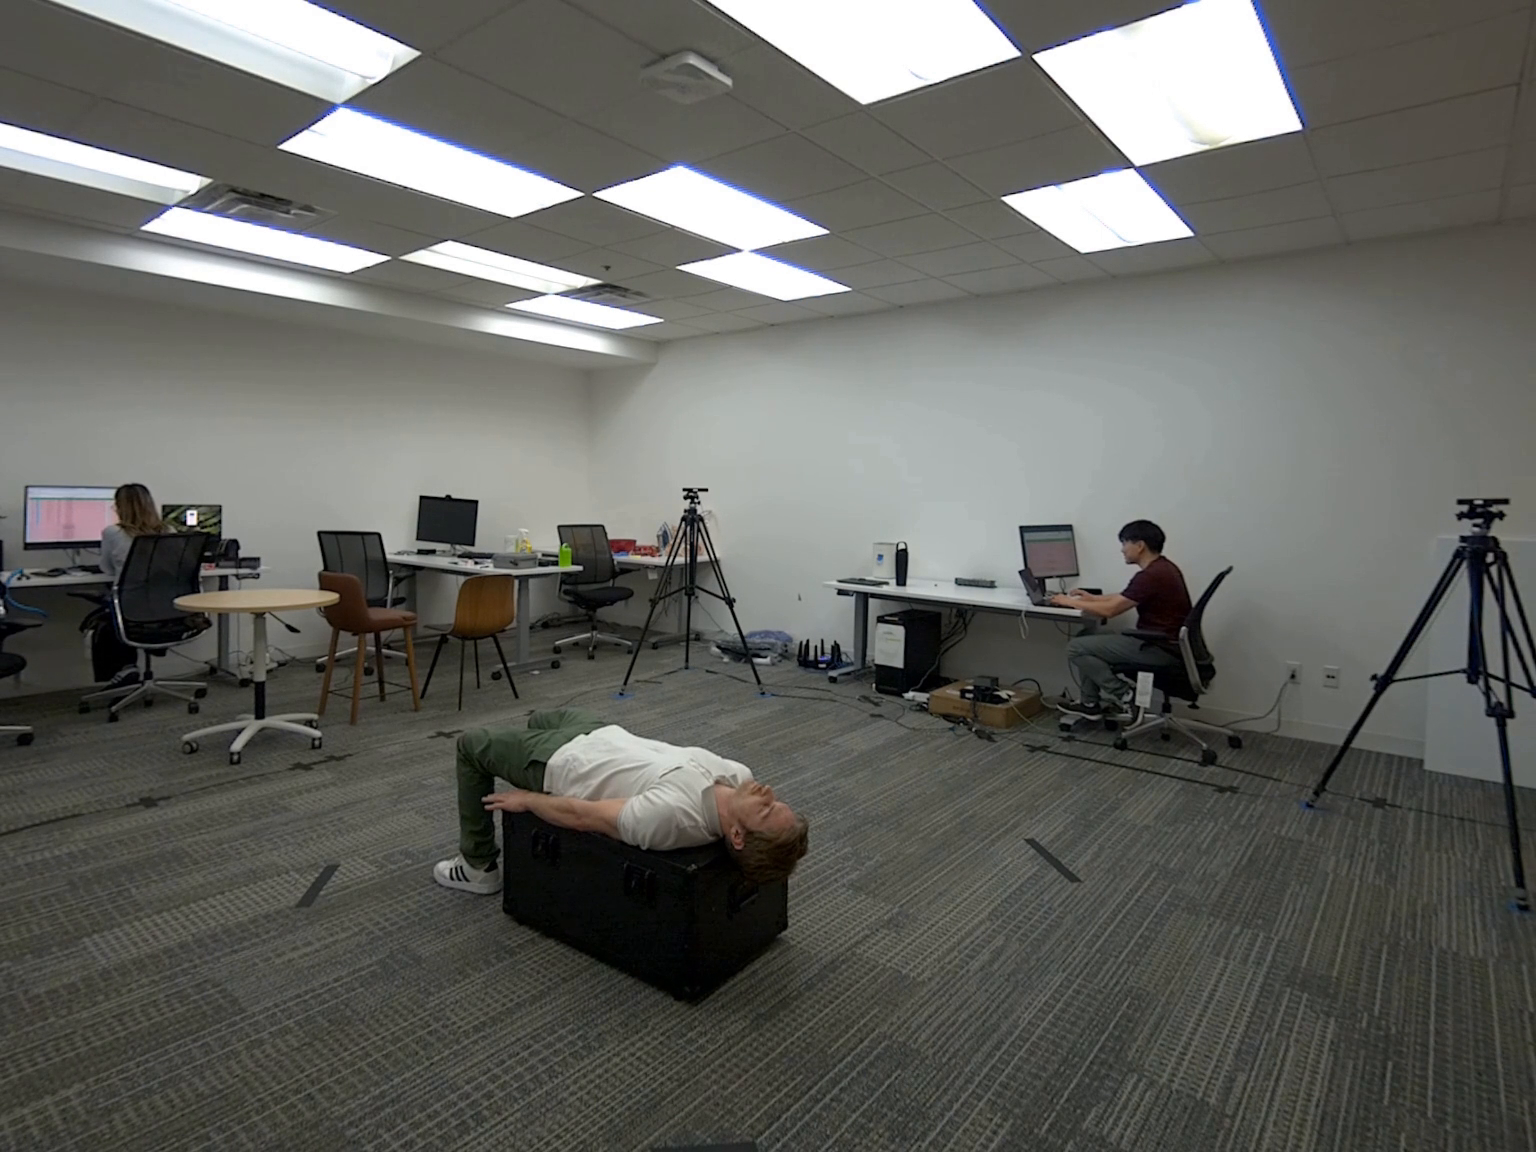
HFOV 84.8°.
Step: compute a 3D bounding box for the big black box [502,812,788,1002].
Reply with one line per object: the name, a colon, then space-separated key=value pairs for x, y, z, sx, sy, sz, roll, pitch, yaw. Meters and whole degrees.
big black box: x=-0.428 y=0.918 z=2.704 sx=0.896 sy=0.384 sz=0.509 roll=3 pitch=6 yaw=35
